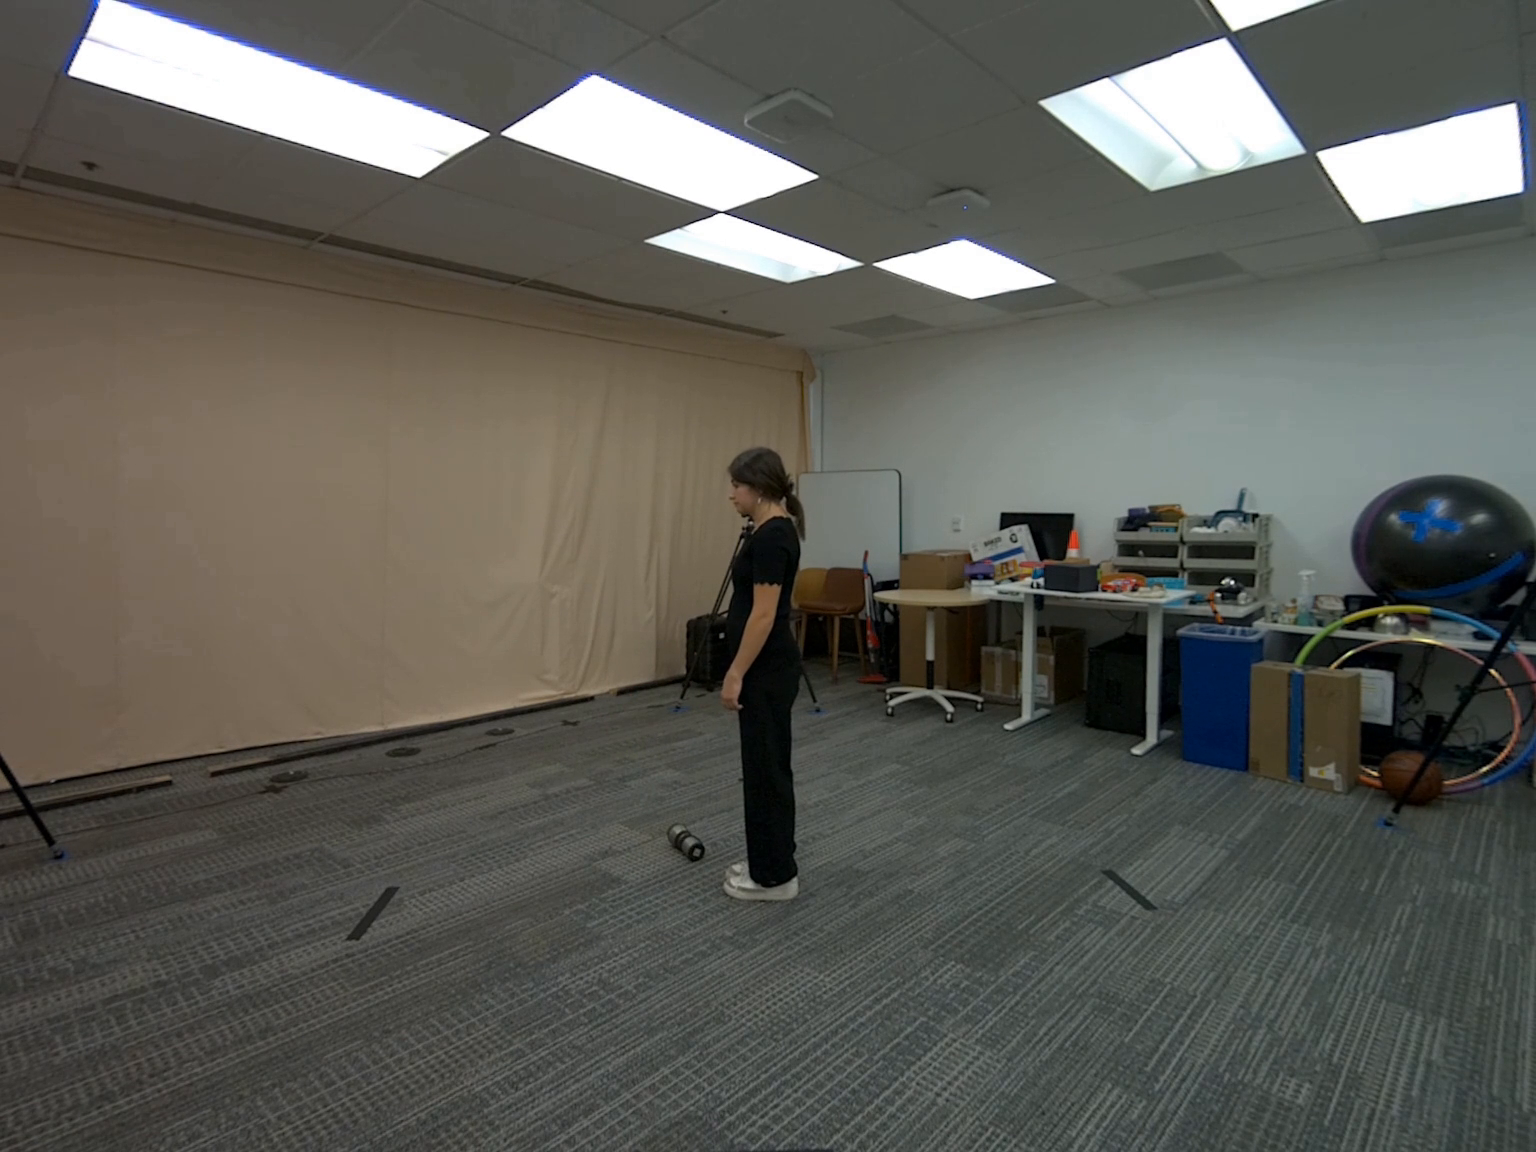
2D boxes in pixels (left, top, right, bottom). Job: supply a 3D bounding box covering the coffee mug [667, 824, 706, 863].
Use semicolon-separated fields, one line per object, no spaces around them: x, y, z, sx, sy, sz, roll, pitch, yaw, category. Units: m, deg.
-0.310;1.064;3.392;0.119;0.087;0.209;-18;14;-30;coffee mug
